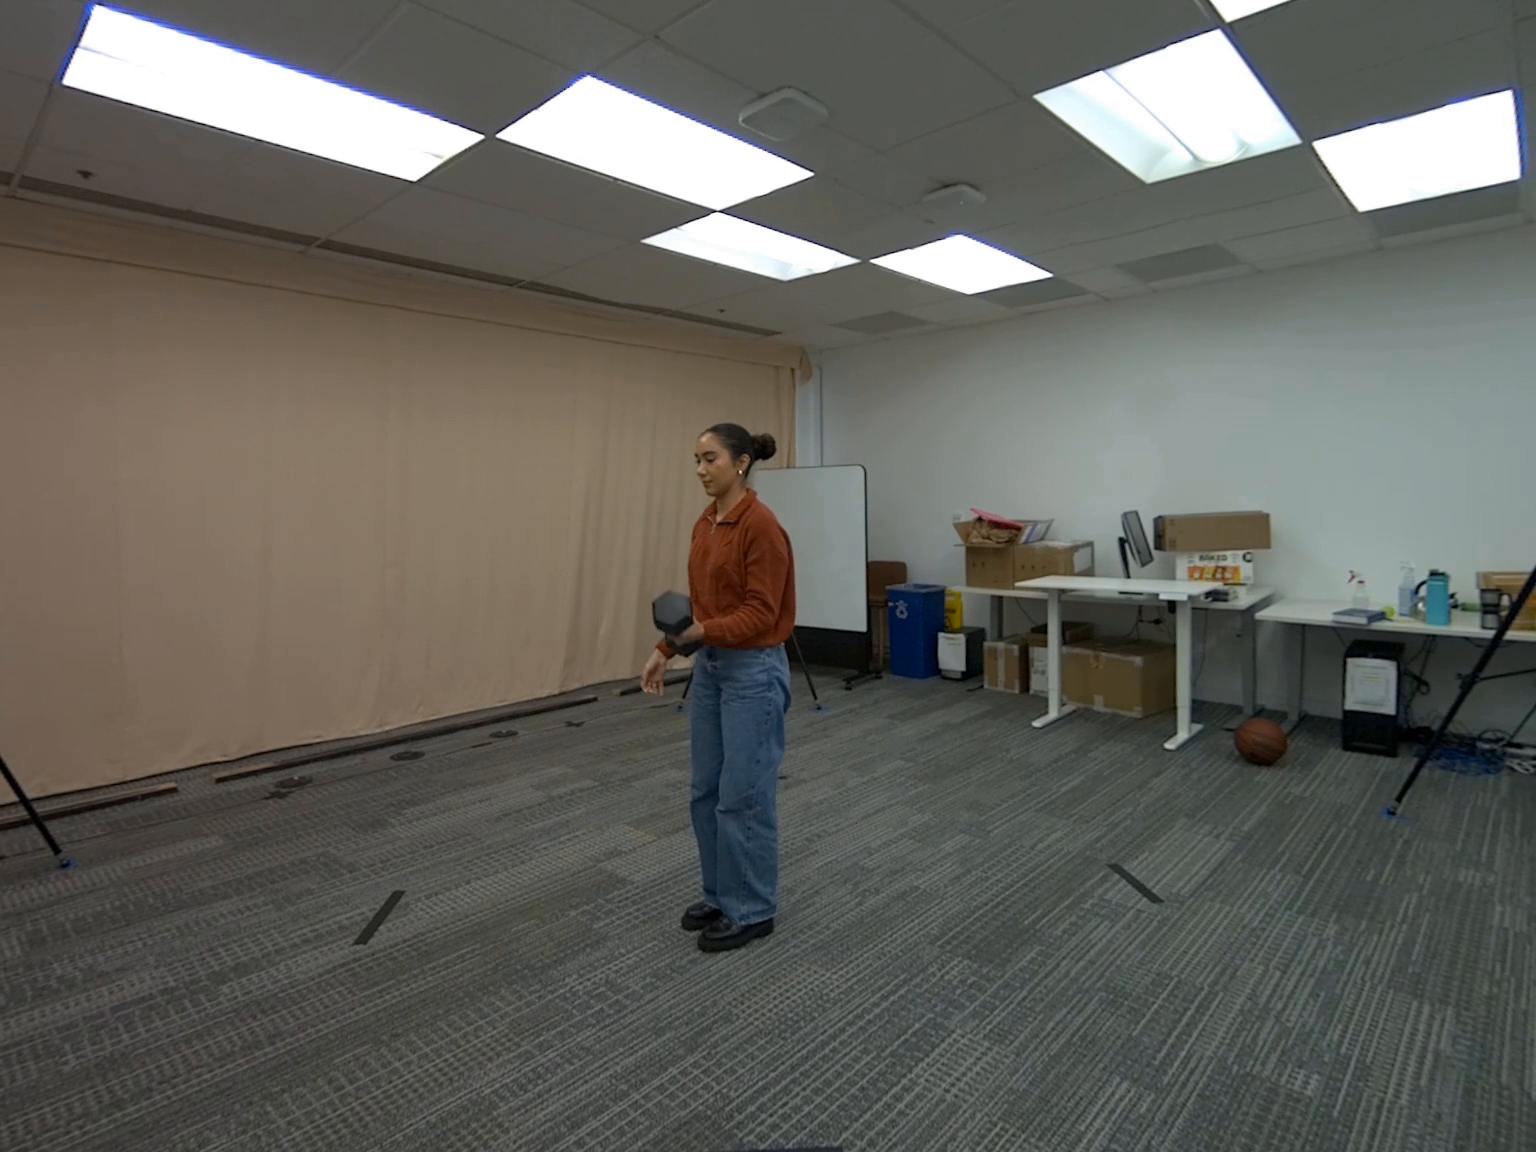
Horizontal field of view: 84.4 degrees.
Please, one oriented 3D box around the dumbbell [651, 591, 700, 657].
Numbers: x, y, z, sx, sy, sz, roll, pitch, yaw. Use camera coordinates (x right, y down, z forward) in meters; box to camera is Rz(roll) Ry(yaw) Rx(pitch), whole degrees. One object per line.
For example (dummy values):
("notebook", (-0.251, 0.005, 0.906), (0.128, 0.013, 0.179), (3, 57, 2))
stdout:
("dumbbell", (-0.254, 0.142, 2.463), (0.122, 0.111, 0.288), (-36, -19, -10))
